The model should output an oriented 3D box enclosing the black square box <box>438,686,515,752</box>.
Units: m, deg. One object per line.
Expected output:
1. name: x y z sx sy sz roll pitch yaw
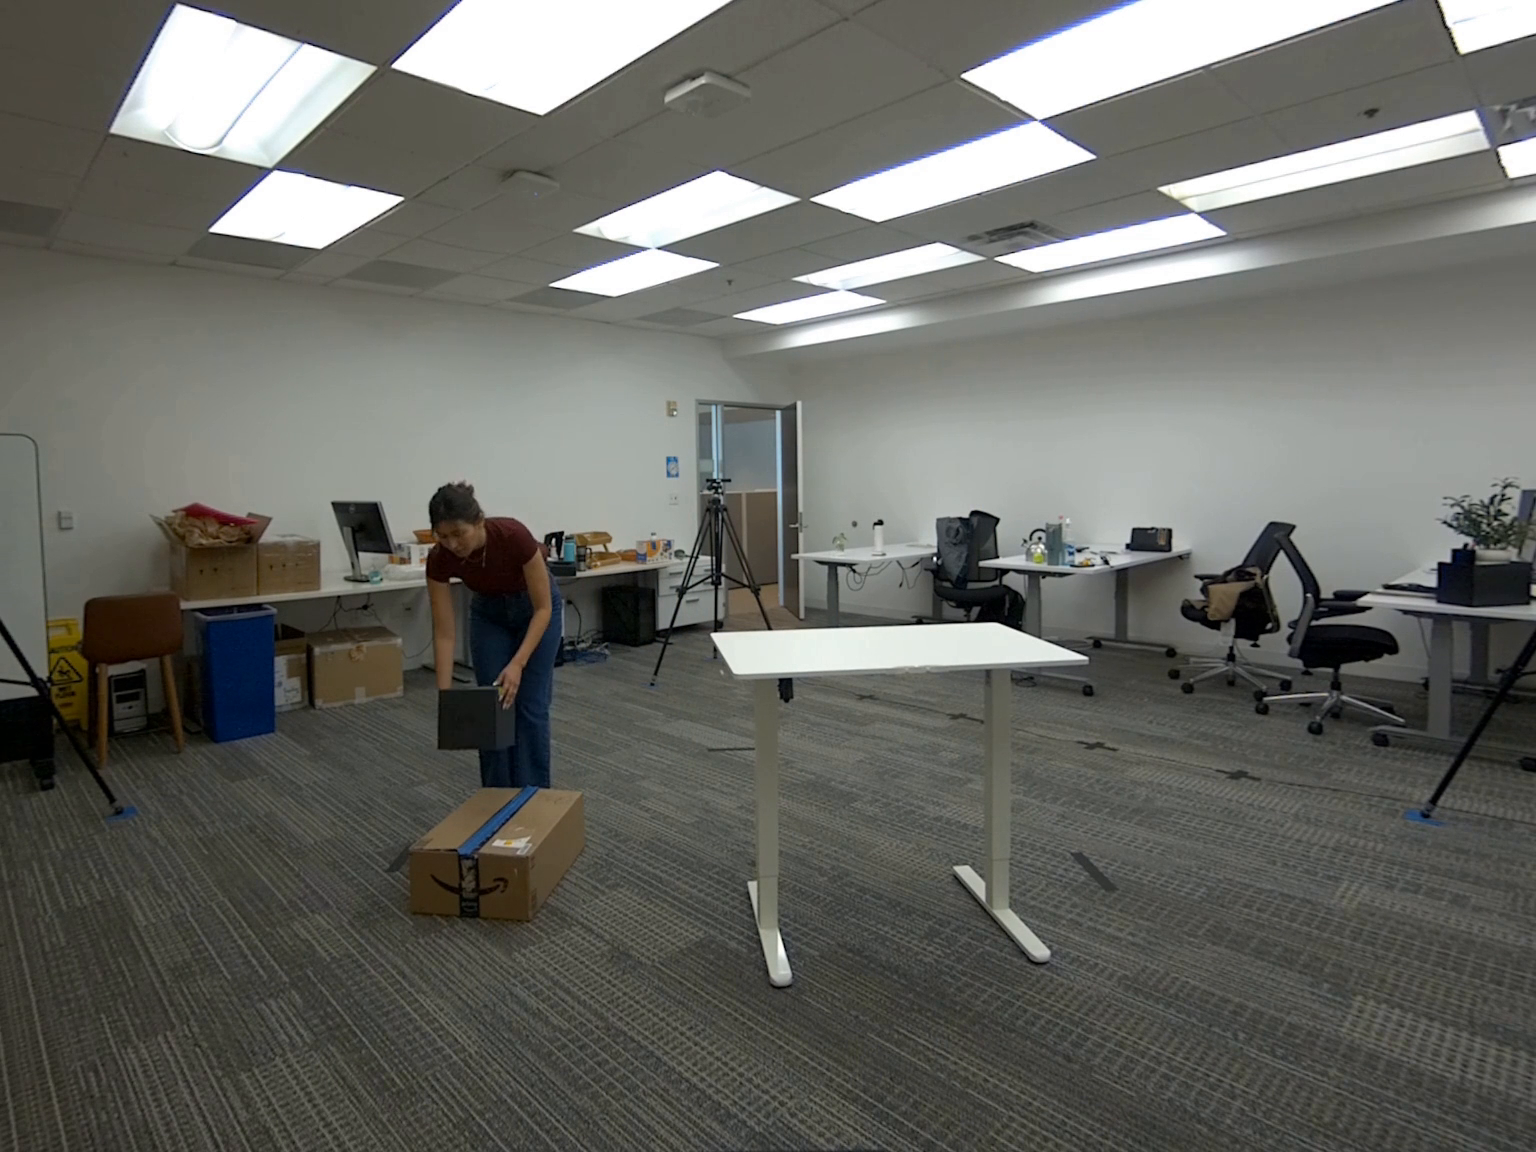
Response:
1. black square box: -1.066 0.512 3.120 0.231 0.218 0.153 -3 -5 14
